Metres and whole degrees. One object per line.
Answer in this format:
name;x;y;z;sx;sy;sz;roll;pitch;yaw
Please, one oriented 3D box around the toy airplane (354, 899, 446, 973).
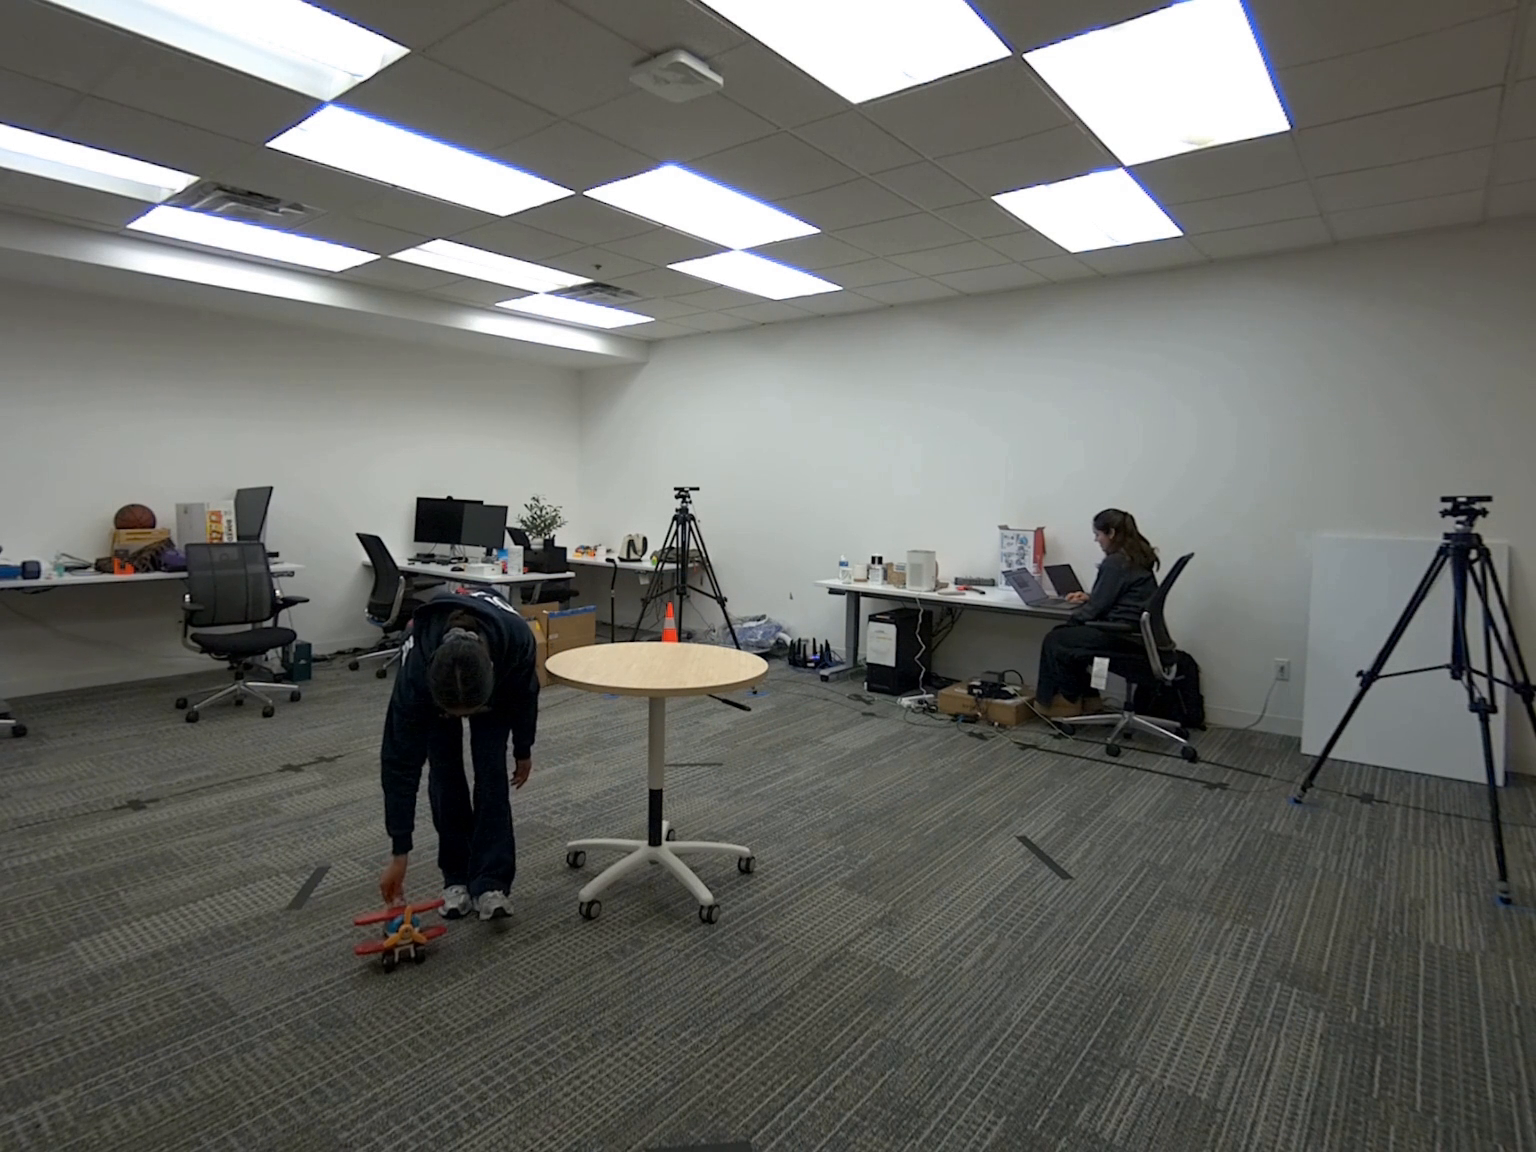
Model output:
toy airplane;-1.123;1.043;2.517;0.267;0.156;0.245;4;6;28
